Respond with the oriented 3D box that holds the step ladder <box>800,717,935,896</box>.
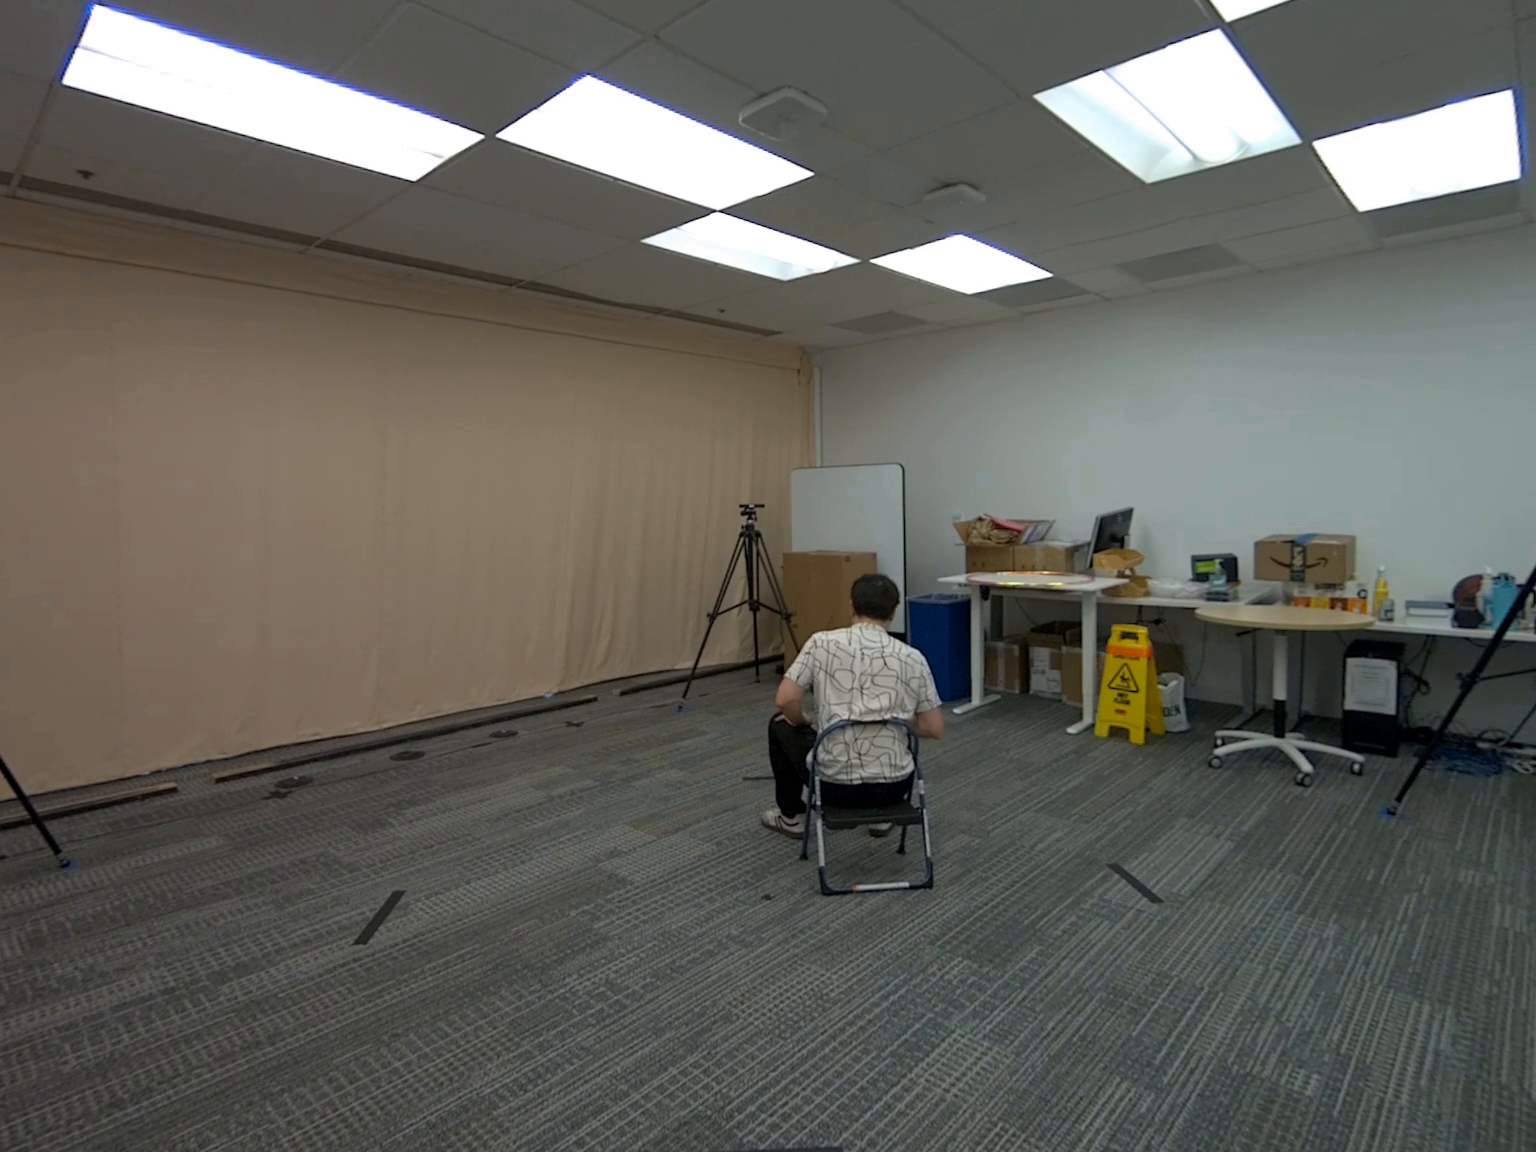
[{"bbox_3d":[0.362,0.818,3.157,0.427,0.605,0.353,-1,3,-9],"label":"step ladder"}]
